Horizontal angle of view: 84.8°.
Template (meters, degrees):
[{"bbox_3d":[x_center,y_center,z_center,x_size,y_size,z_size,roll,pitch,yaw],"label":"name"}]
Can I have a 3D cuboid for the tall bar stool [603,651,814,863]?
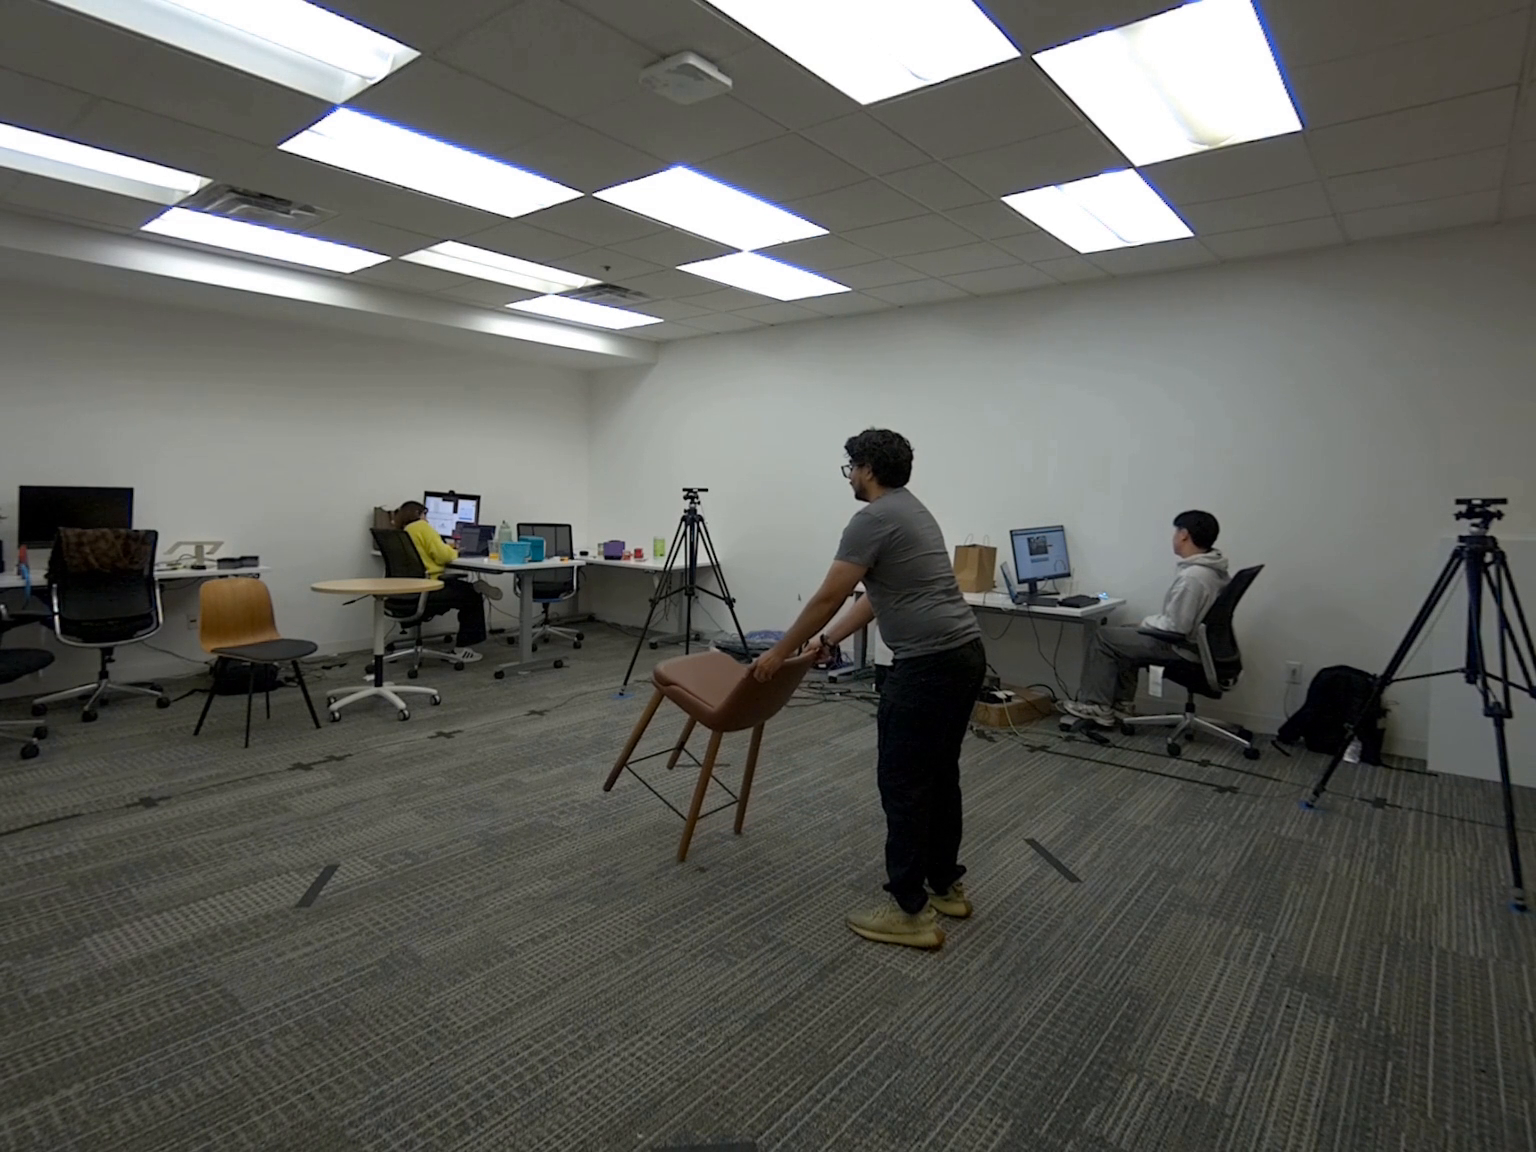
[{"bbox_3d":[-0.230,0.565,3.300,0.486,0.882,0.443,35,22,31],"label":"tall bar stool"}]
